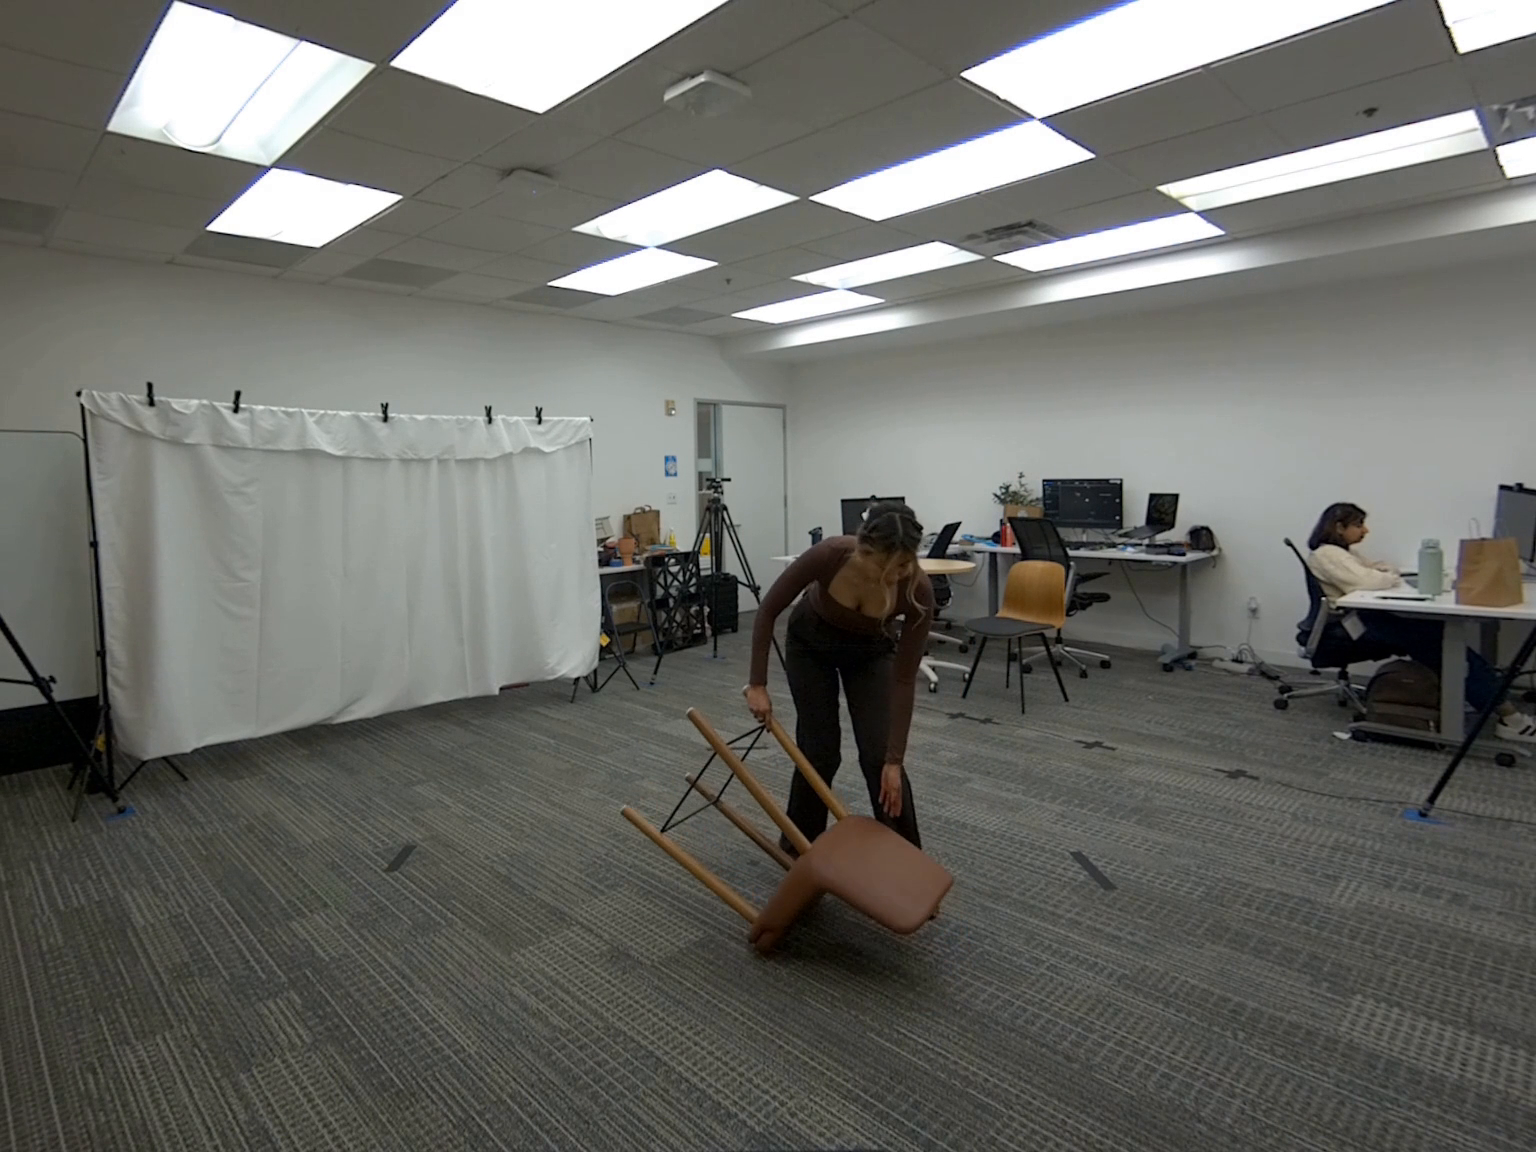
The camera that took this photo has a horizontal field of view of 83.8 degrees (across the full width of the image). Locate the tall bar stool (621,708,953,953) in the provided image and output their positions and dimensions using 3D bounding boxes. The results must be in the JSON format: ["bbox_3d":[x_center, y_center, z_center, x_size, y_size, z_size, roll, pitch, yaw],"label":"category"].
[{"bbox_3d":[0.057,0.828,2.652,0.916,0.465,0.446,39,21,22],"label":"tall bar stool"}]
